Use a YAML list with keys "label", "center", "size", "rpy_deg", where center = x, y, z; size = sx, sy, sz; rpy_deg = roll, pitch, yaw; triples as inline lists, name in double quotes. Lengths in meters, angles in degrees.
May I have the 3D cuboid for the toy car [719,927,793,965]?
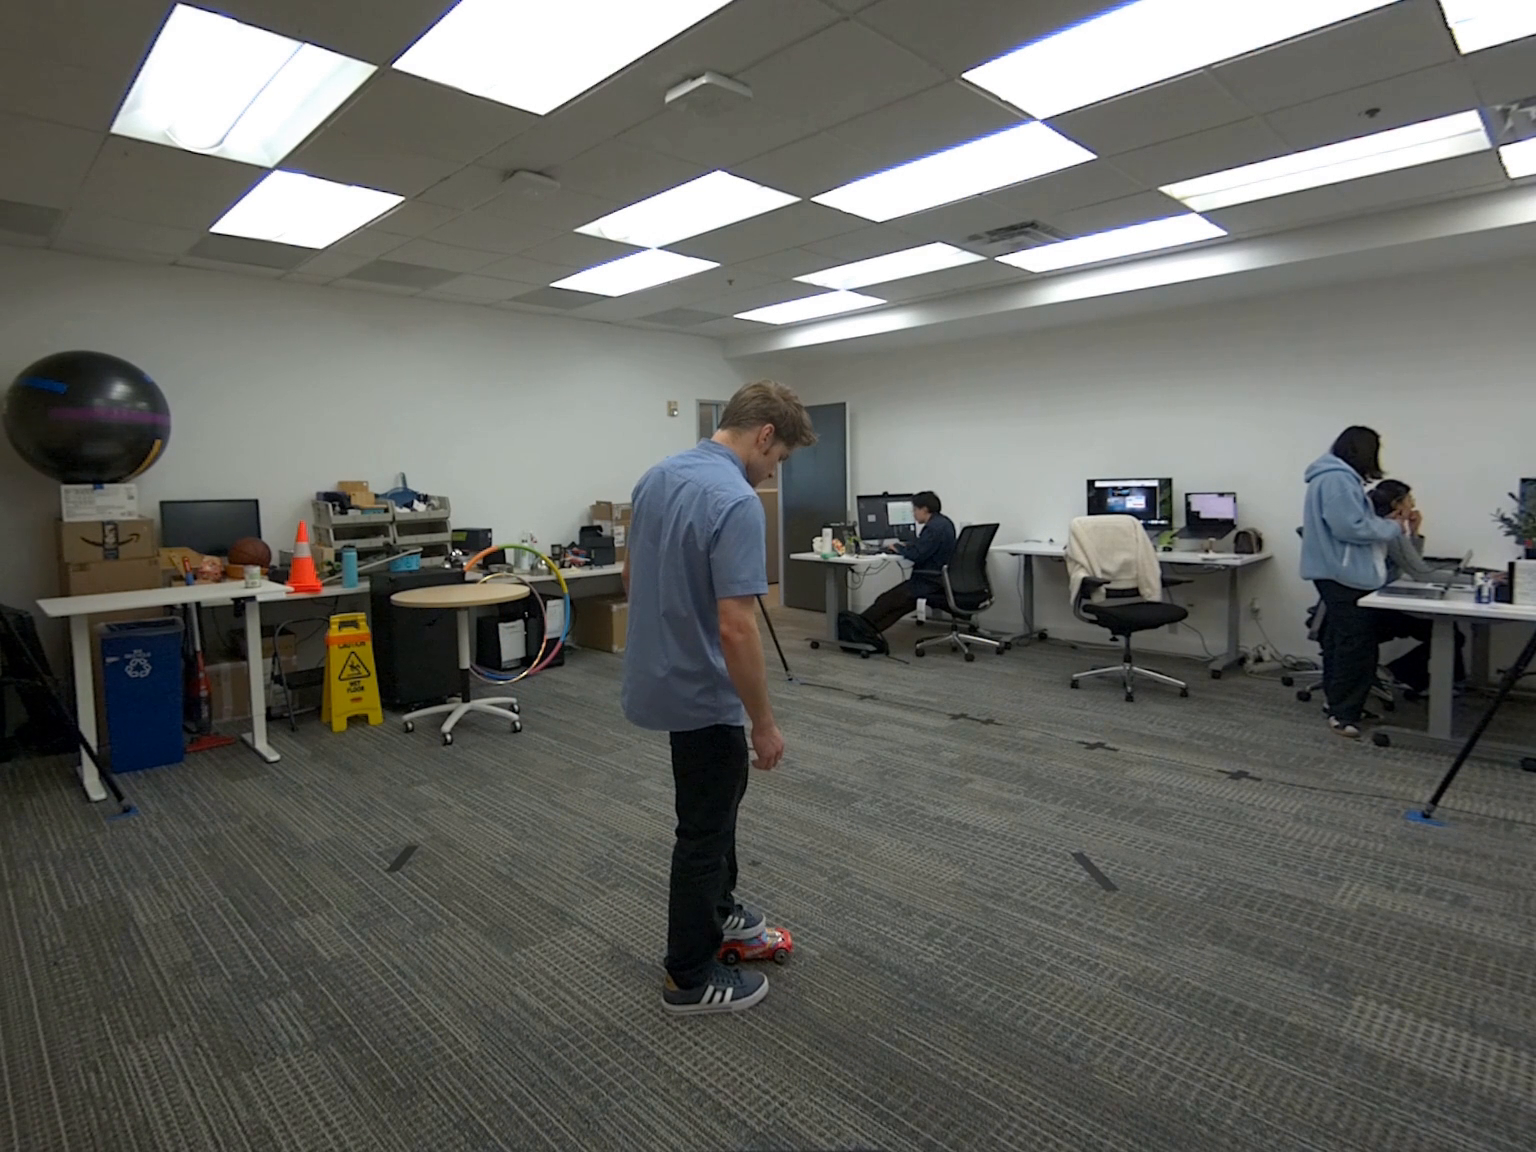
- label: "toy car"
  center: [-0.055, 1.084, 2.516]
  size: [0.254, 0.083, 0.131]
  rpy_deg: [8, 5, -3]
